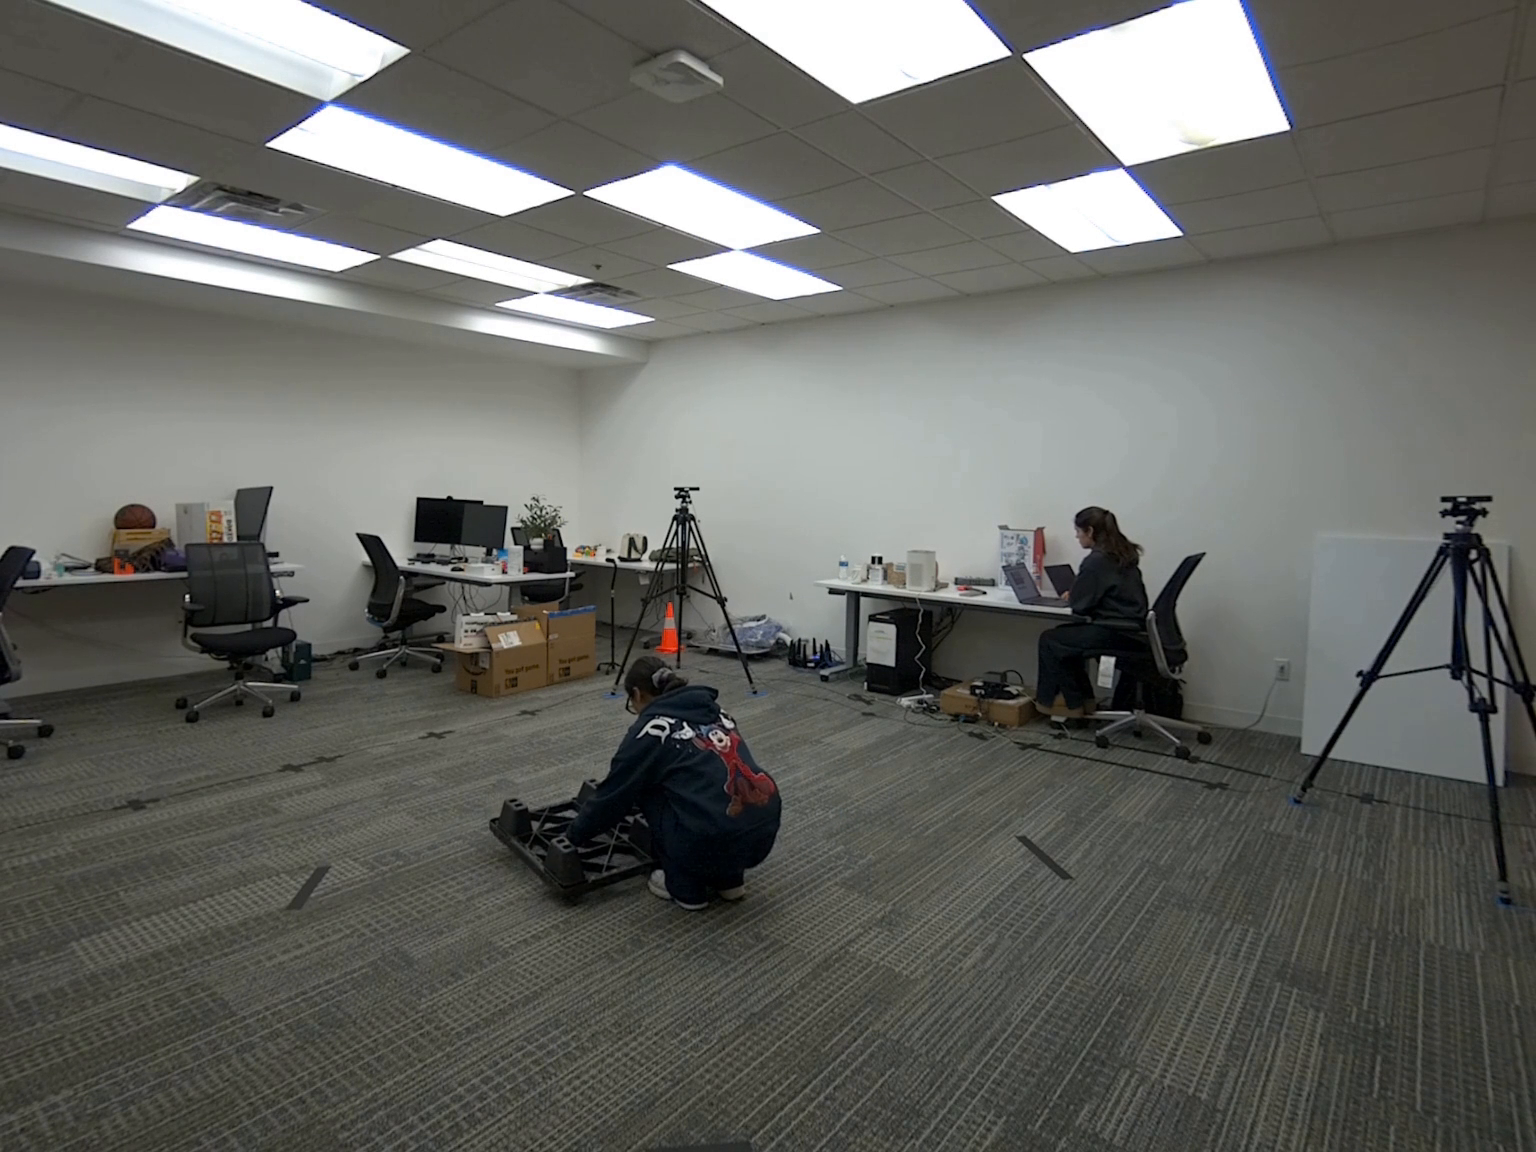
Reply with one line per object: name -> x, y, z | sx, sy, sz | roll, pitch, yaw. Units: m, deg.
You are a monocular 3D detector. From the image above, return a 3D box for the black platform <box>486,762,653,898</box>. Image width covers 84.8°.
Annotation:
black platform -> -0.576, 0.910, 3.233 | 0.782, 0.142, 0.627 | -5, 11, -41
